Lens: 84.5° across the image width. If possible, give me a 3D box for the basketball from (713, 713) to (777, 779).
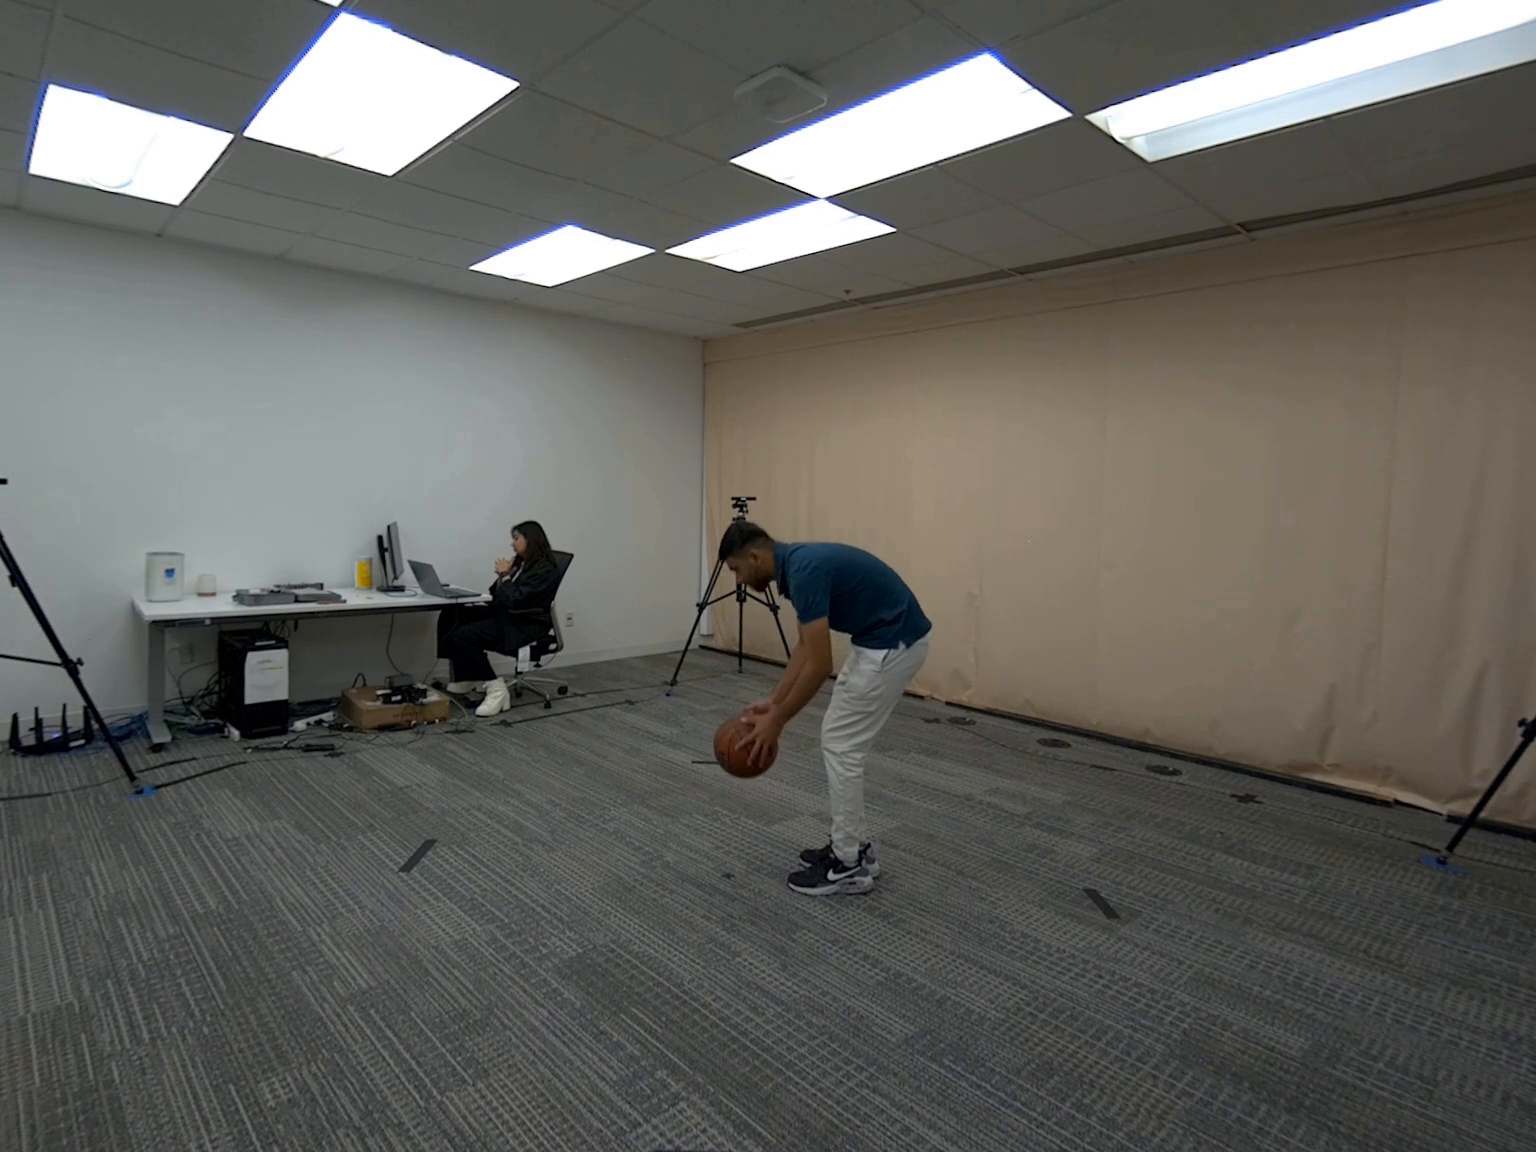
[{"bbox_3d":[-0.081,0.627,3.103,0.236,0.235,0.237,1,4,-1],"label":"basketball"}]
